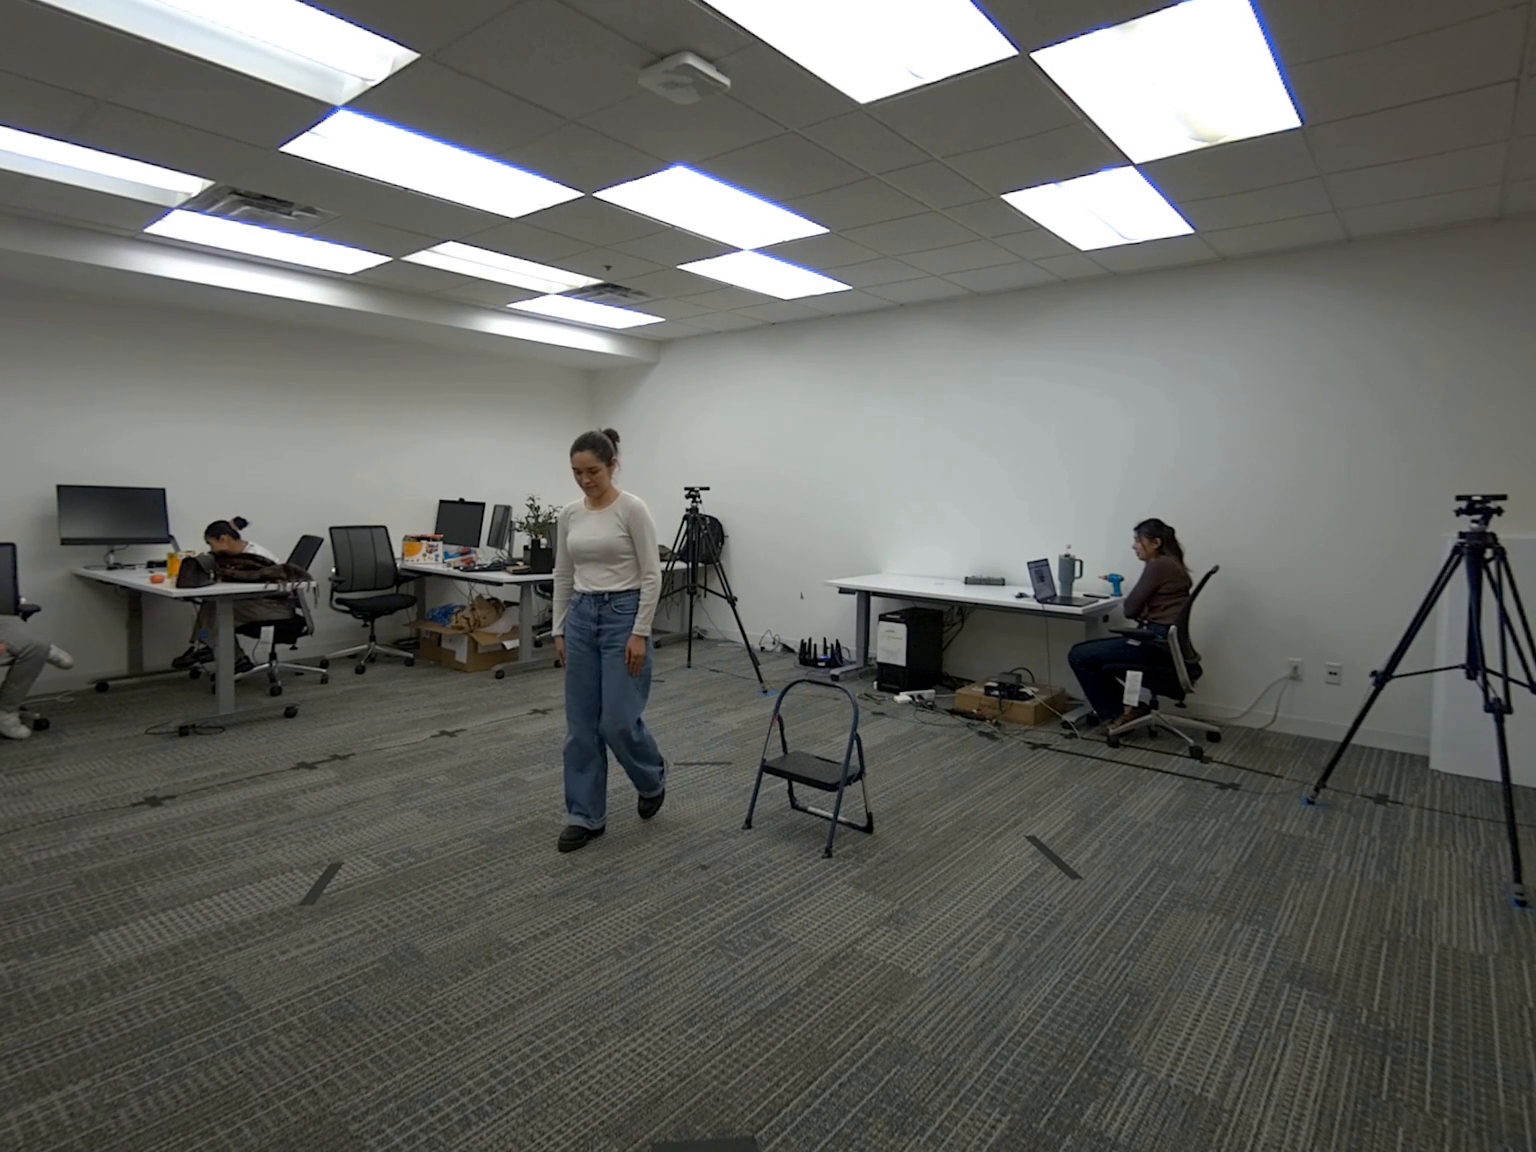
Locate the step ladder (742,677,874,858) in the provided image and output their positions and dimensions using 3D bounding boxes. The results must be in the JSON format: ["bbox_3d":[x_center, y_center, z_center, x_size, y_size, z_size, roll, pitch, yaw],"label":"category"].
[{"bbox_3d":[0.168,0.738,3.458,0.445,0.604,0.339,5,5,39],"label":"step ladder"}]
